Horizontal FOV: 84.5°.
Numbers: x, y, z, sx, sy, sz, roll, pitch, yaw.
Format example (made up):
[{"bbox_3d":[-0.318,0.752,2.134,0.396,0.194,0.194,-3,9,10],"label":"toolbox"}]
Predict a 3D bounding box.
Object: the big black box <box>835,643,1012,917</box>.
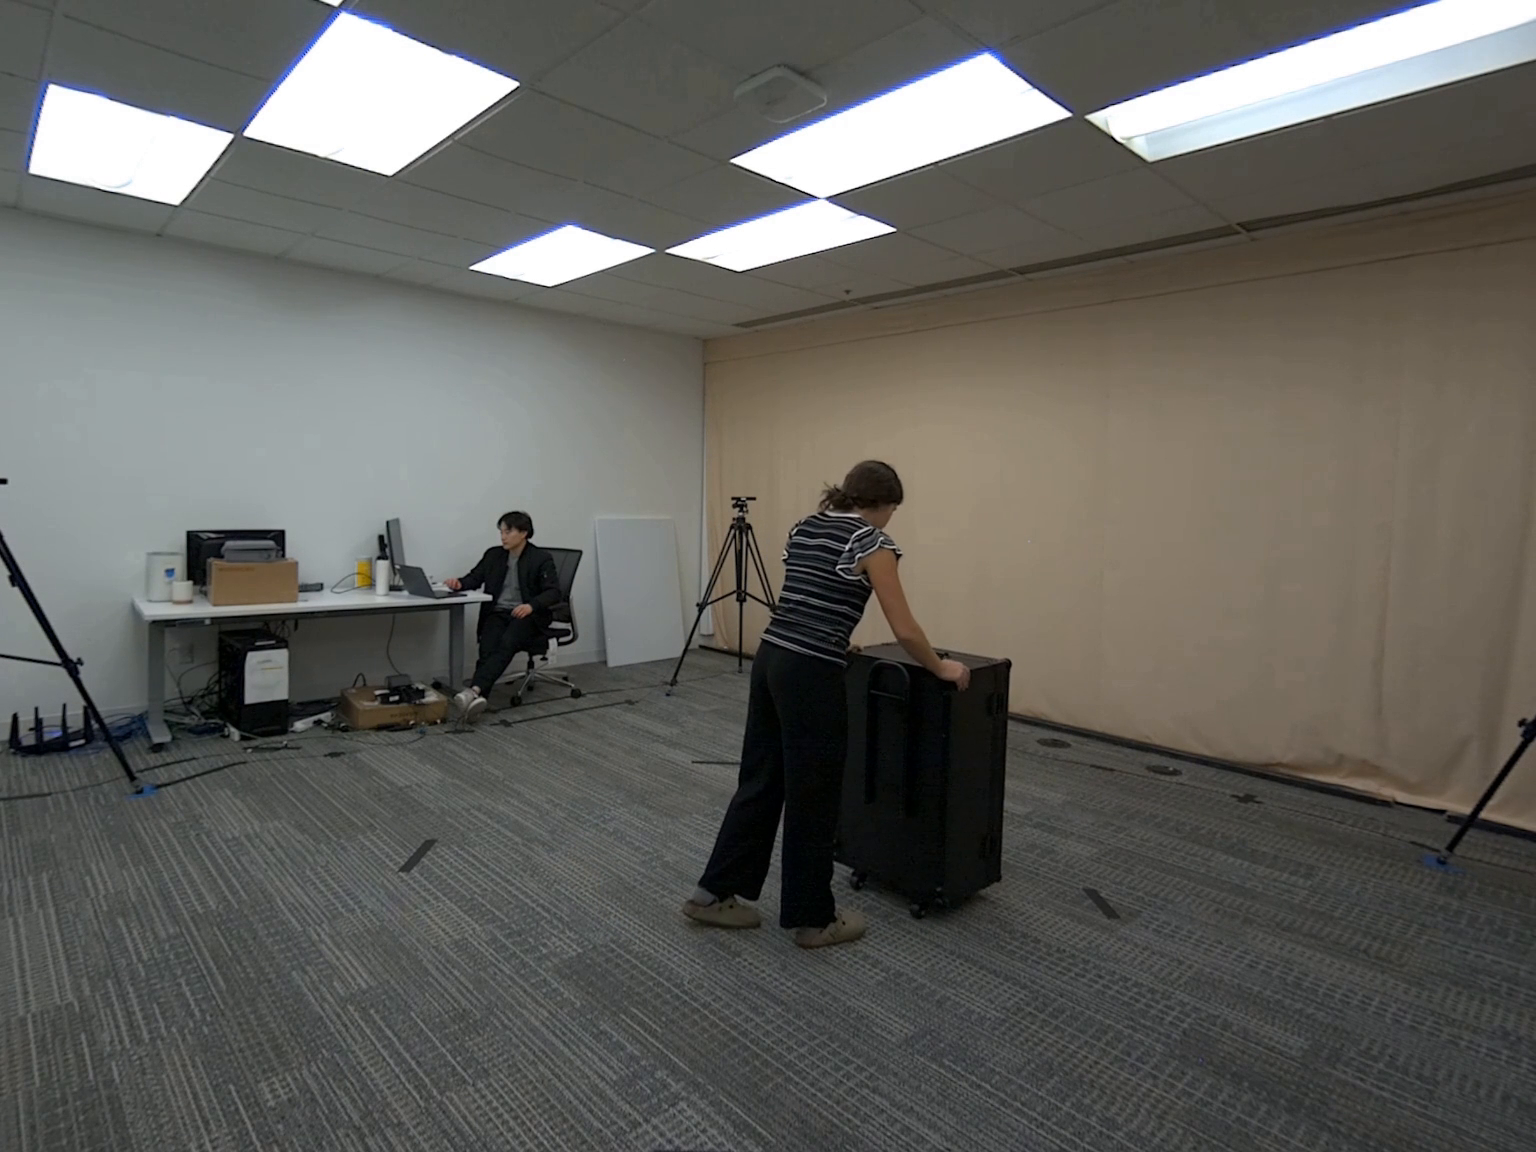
[{"bbox_3d":[0.530,0.708,3.000,0.387,0.859,0.535,-2,5,-43],"label":"big black box"}]
